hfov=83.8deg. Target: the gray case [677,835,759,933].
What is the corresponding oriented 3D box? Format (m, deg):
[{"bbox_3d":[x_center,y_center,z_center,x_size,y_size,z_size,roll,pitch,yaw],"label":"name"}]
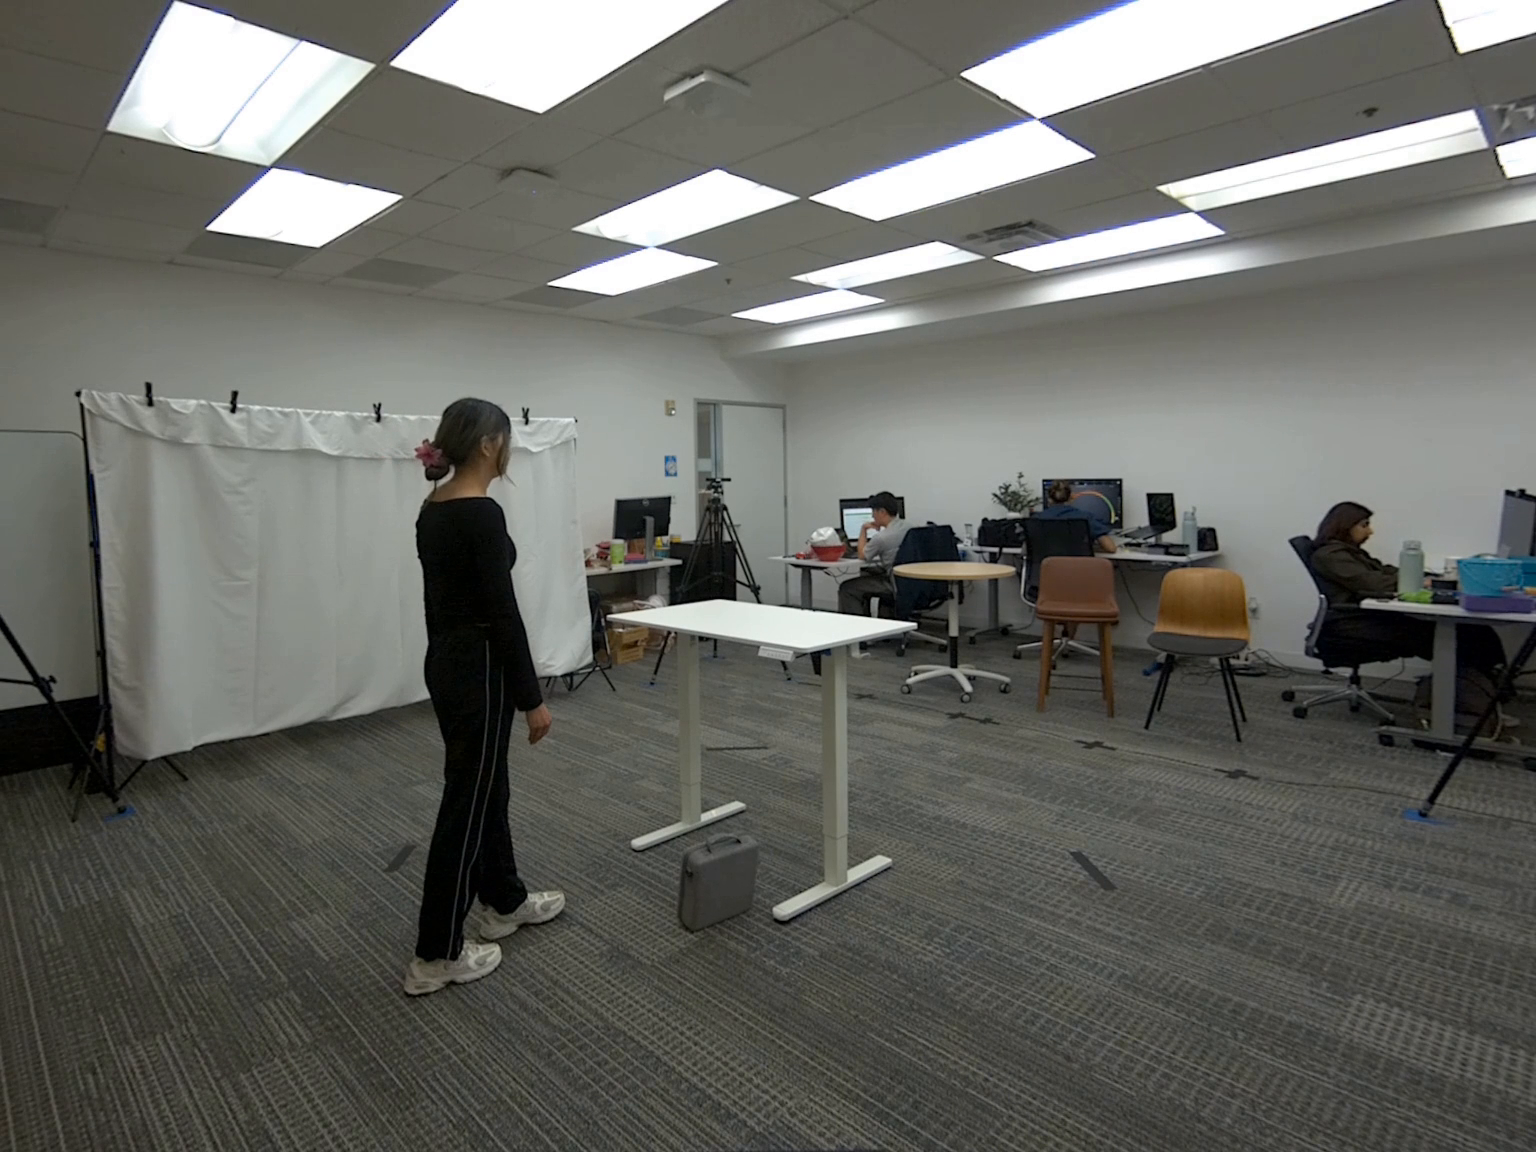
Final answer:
[{"bbox_3d":[-0.154,0.959,2.708,0.250,0.258,0.108,-4,16,-36],"label":"gray case"}]
